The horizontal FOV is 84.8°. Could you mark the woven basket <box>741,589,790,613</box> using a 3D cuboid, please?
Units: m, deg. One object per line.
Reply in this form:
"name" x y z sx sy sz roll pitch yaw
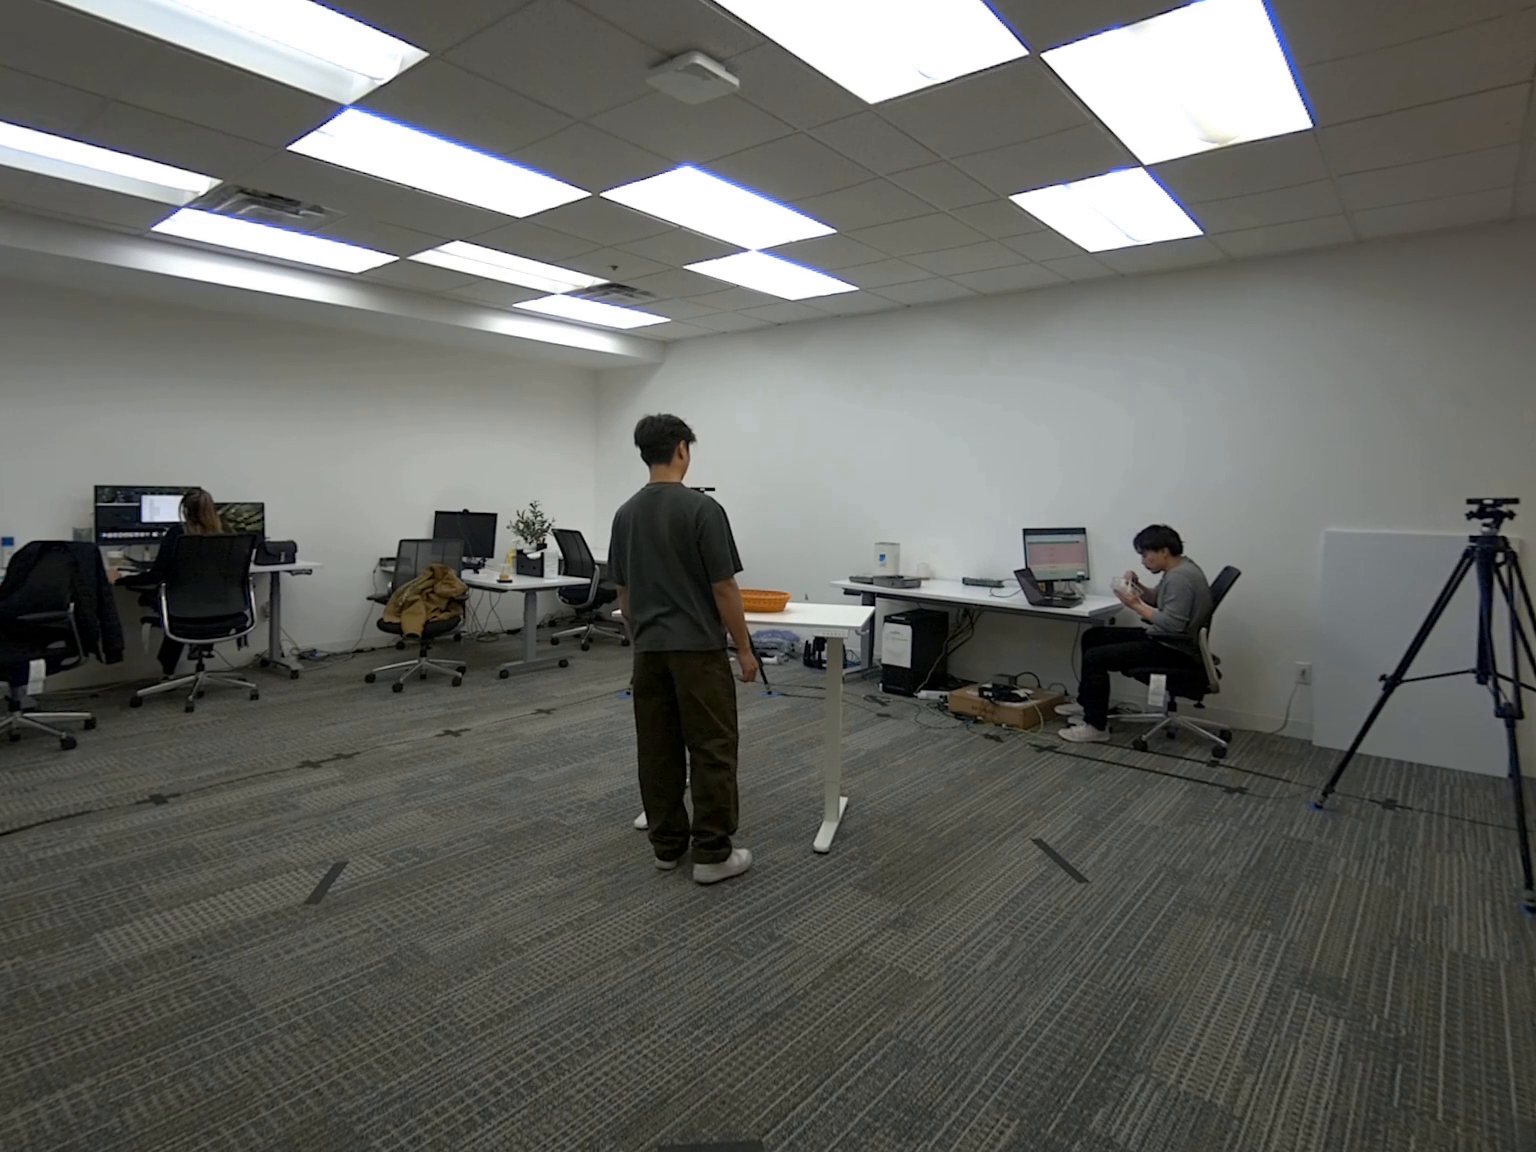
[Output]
"woven basket" -0.074 0.107 3.617 0.357 0.073 0.248 3 6 17
